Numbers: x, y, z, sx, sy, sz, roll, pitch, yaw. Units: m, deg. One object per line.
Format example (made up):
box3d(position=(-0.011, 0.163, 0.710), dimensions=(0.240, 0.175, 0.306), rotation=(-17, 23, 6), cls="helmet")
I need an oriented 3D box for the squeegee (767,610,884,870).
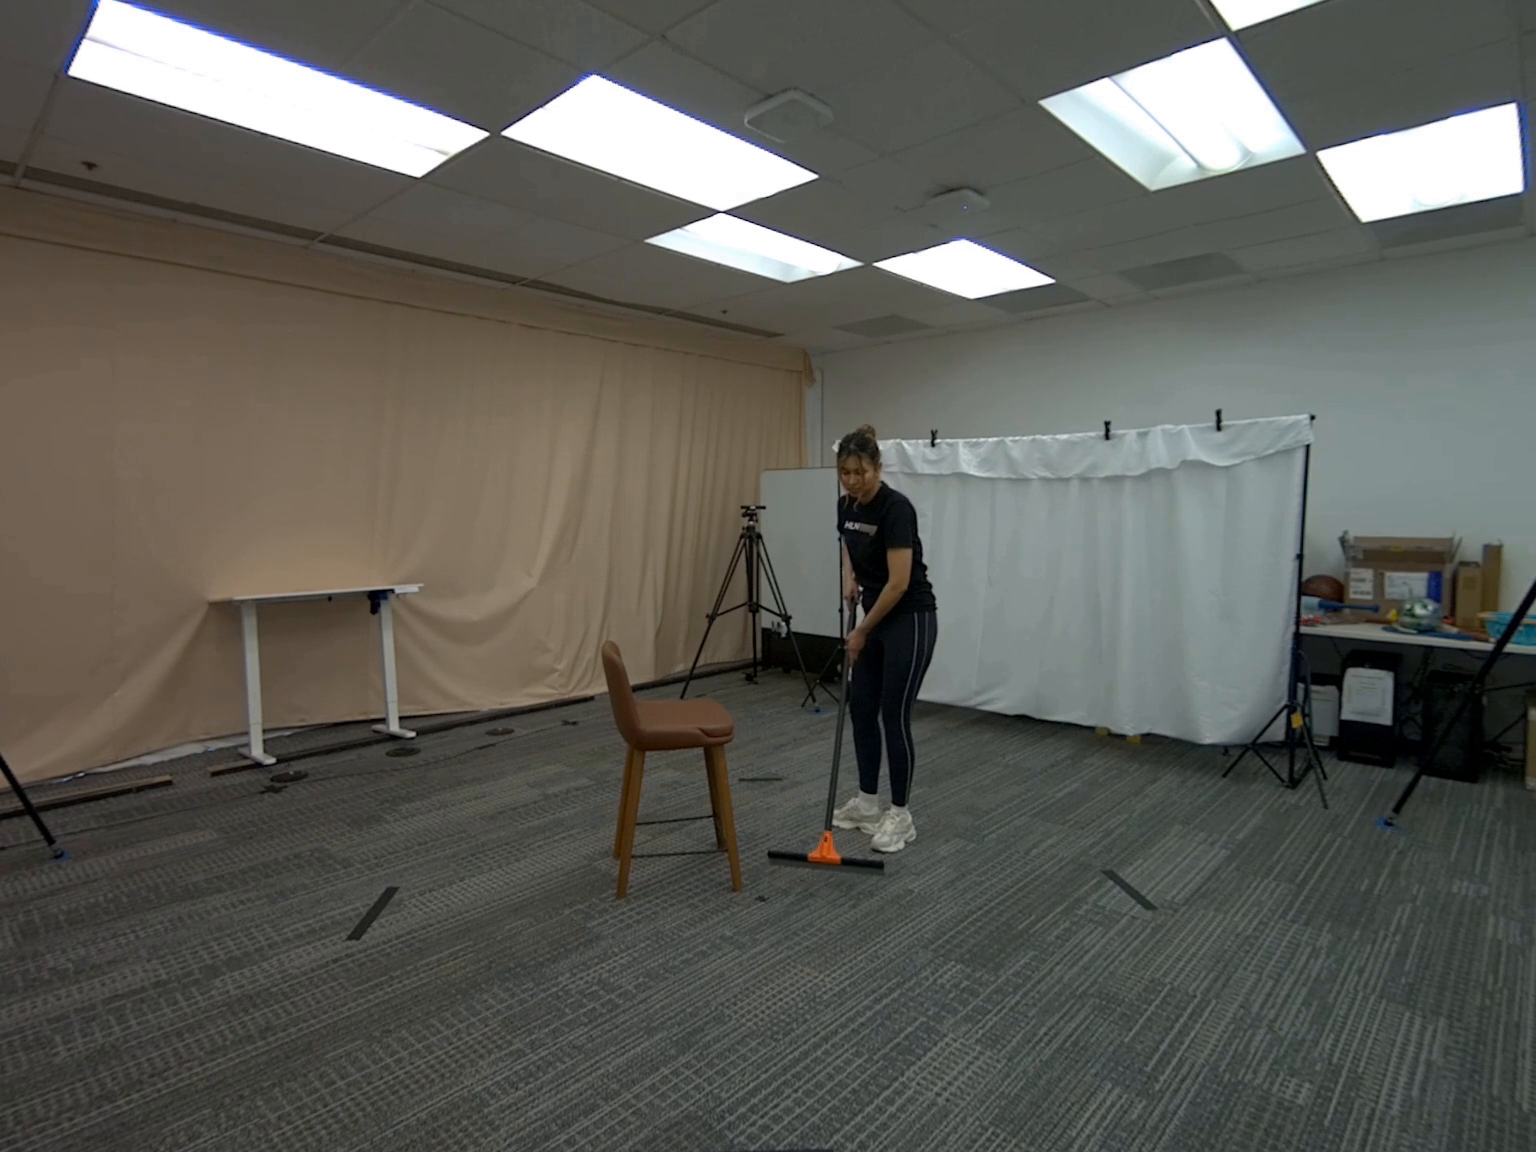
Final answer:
box3d(position=(0.319, 0.414, 3.394), dimensions=(0.447, 1.554, 0.051), rotation=(-6, -37, 23), cls="squeegee")
